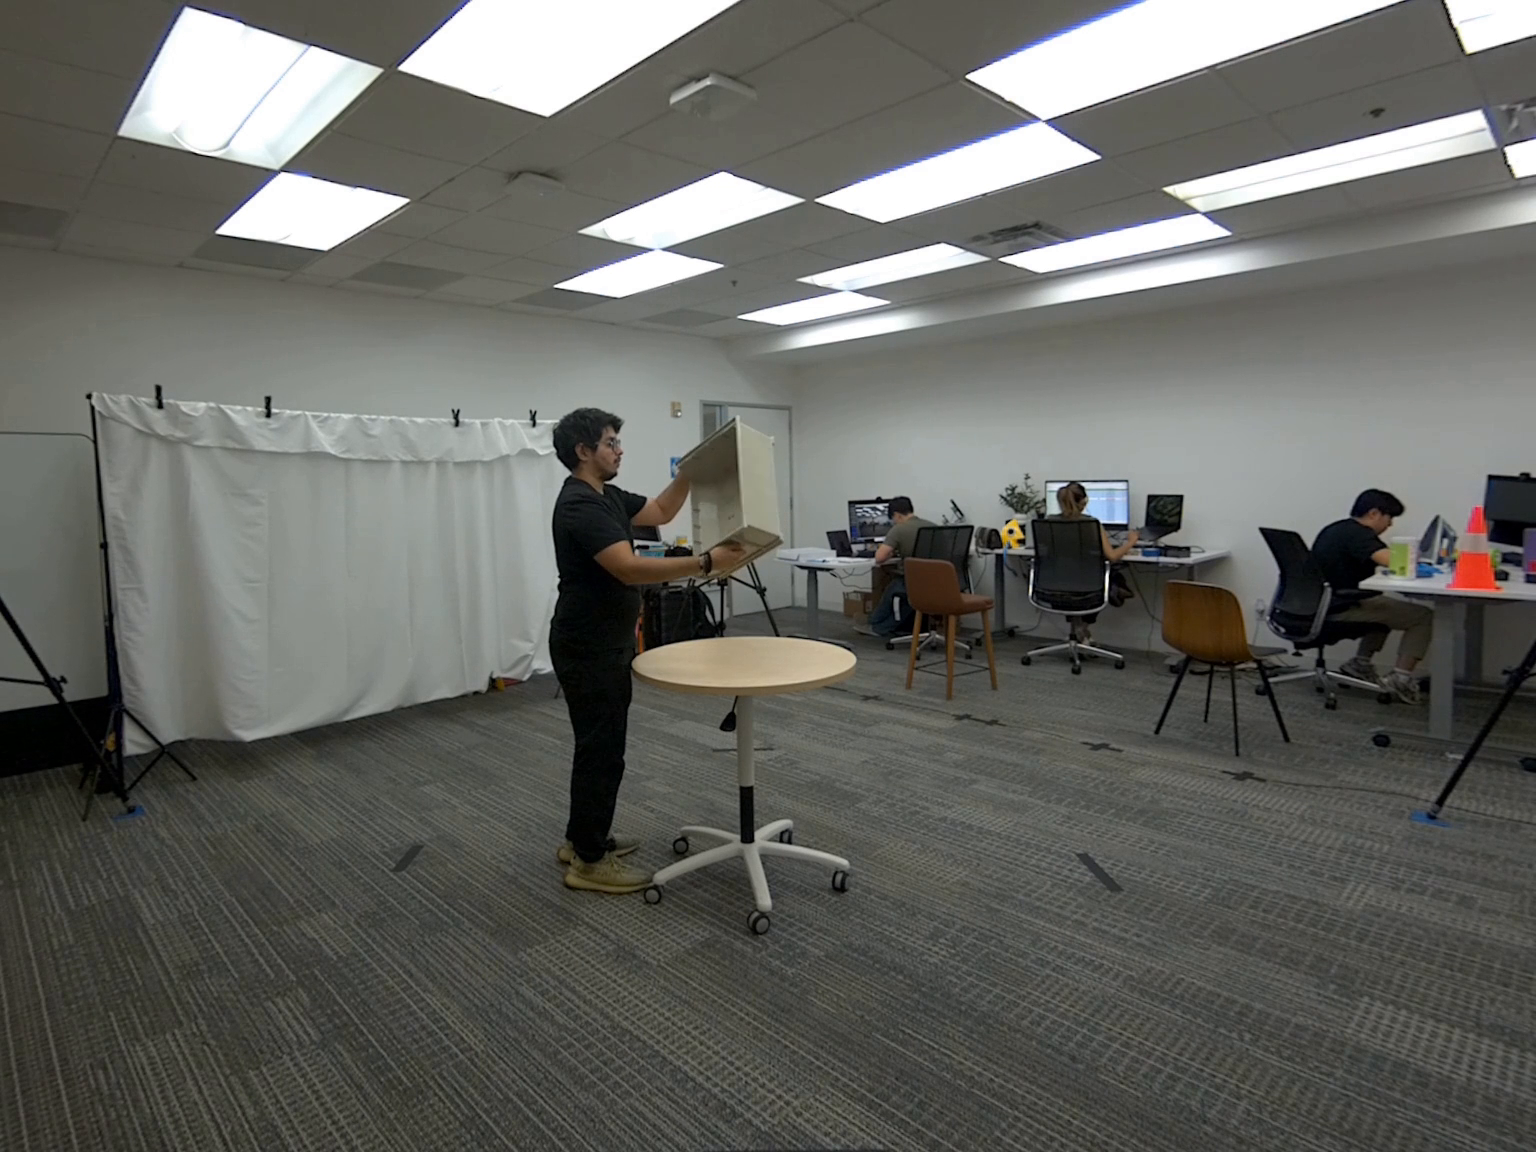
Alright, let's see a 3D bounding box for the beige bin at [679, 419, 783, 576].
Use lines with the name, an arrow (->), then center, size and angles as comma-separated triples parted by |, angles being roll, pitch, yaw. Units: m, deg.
beige bin -> -0.146, -0.244, 2.868 | 0.182, 0.433, 0.381 | 20, -37, -37
